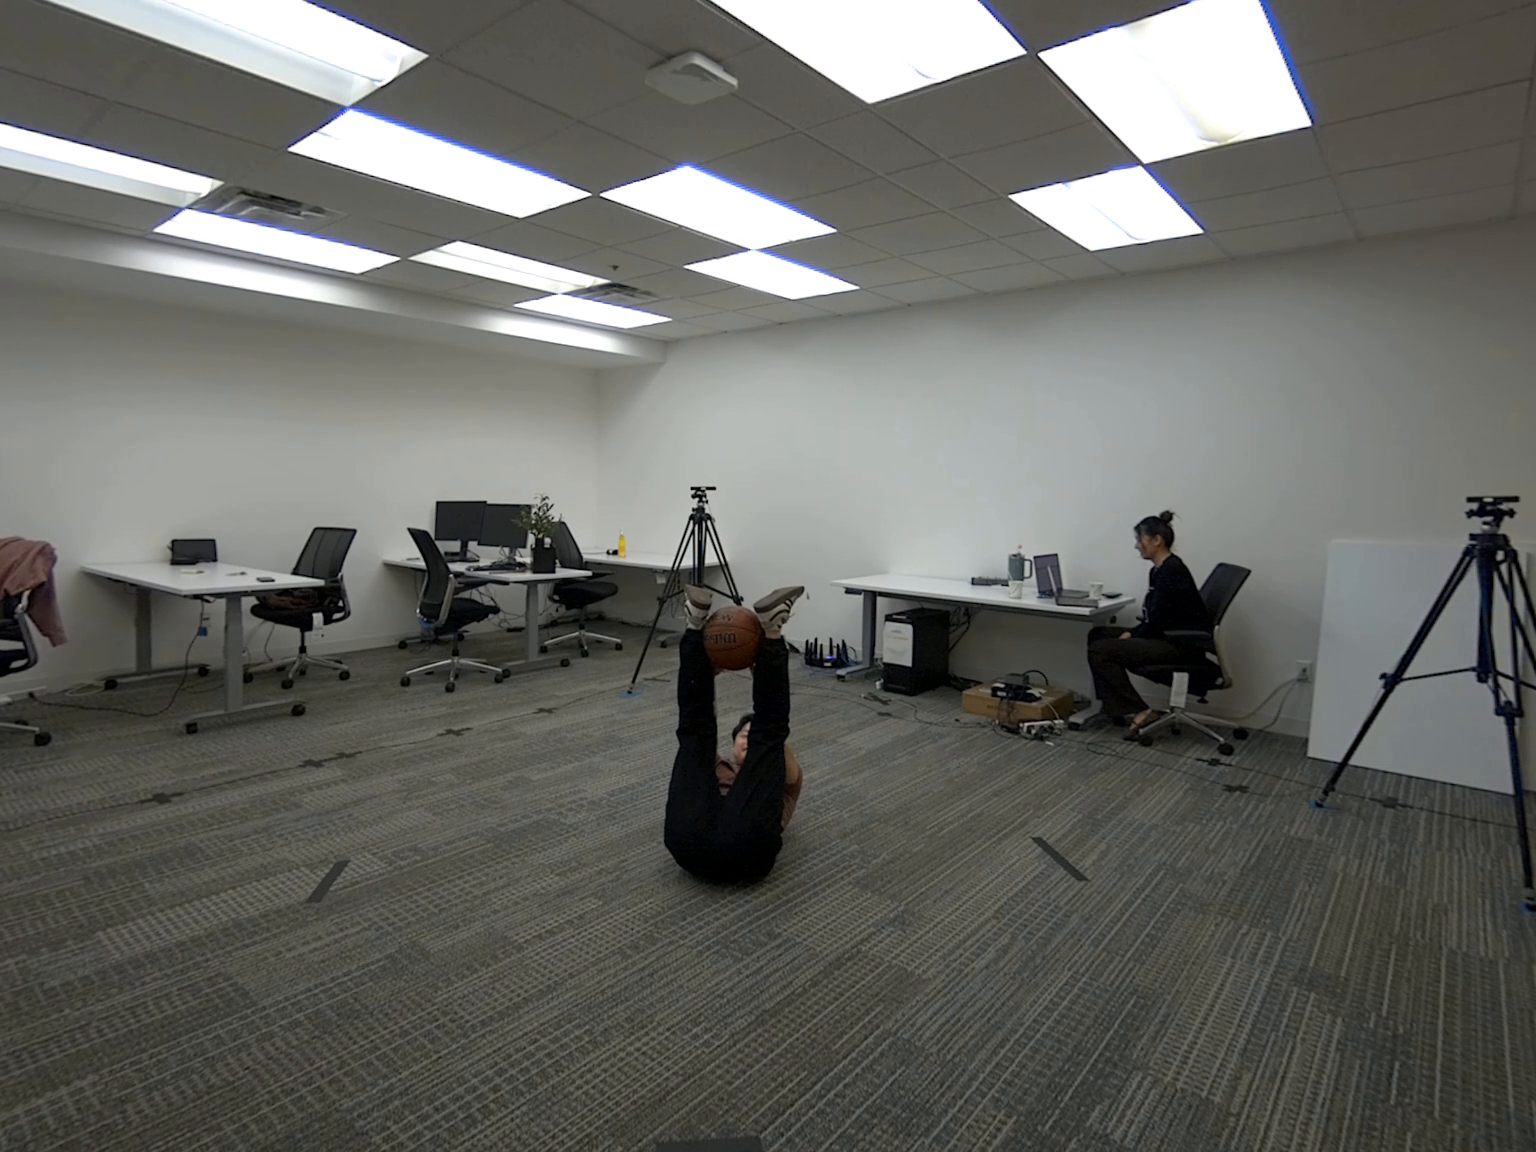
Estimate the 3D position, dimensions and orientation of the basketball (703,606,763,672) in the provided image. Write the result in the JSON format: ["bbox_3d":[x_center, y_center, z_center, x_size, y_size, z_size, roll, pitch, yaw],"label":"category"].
[{"bbox_3d":[-0.138,0.223,3.103,0.236,0.235,0.237,-3,3,-2],"label":"basketball"}]
